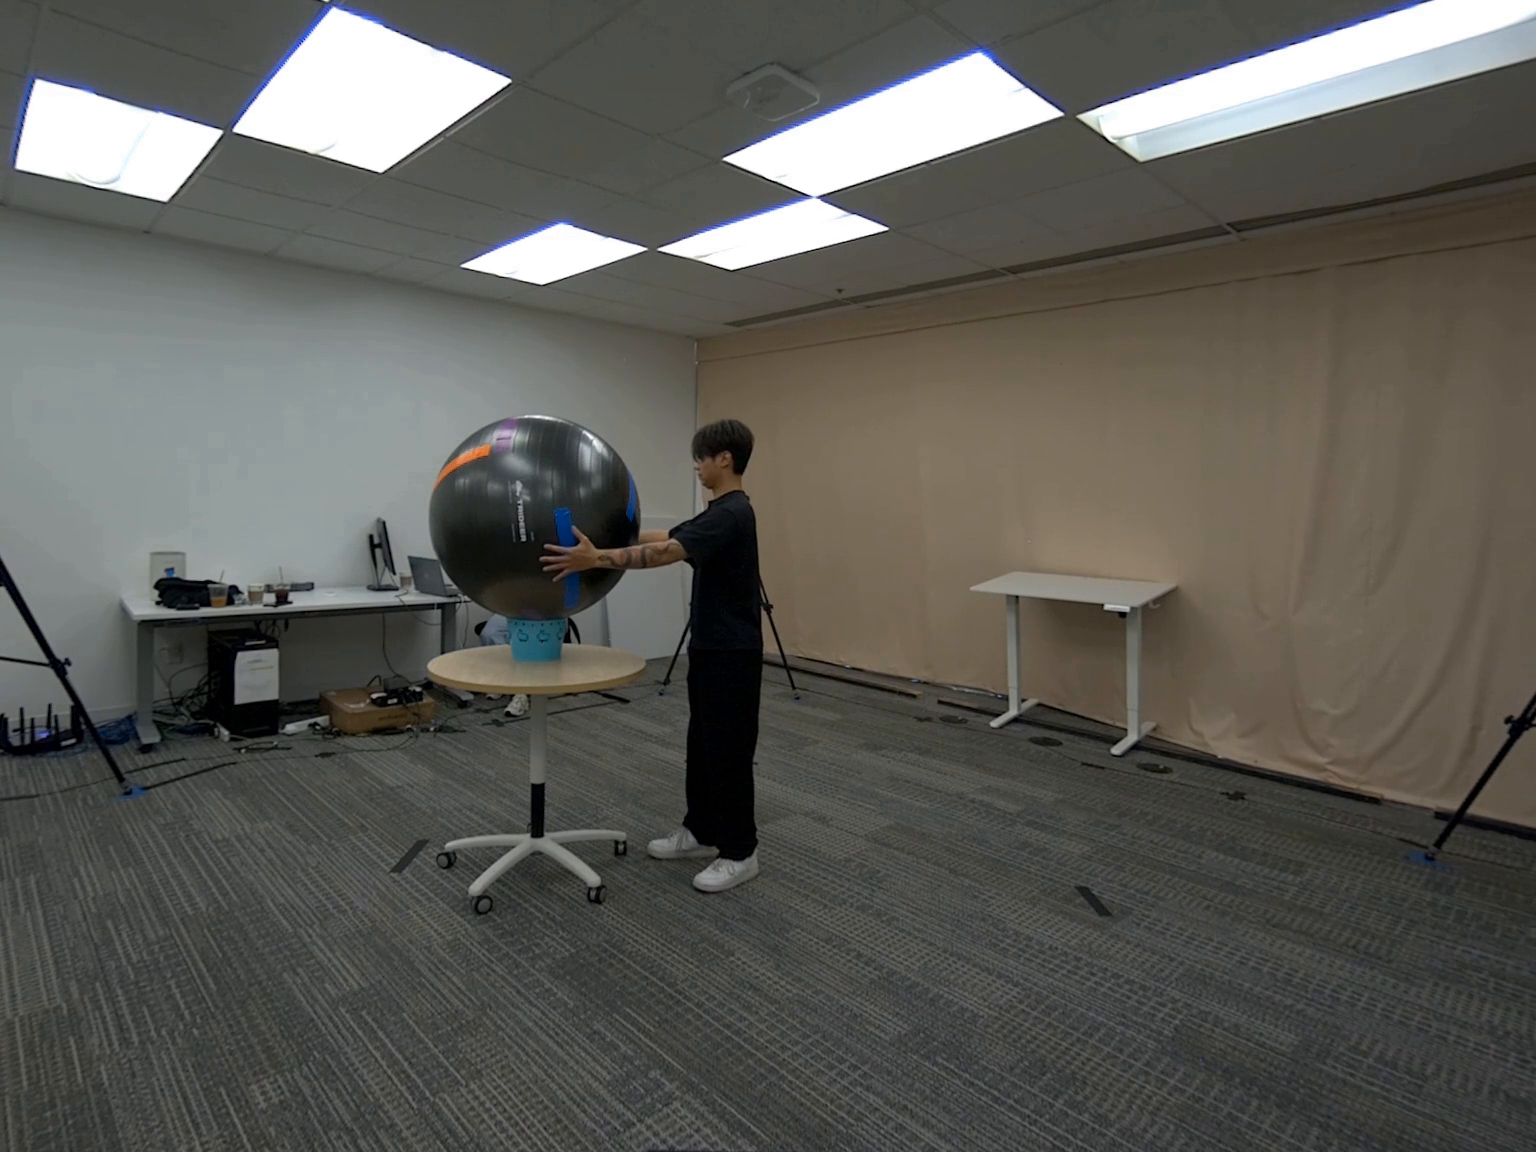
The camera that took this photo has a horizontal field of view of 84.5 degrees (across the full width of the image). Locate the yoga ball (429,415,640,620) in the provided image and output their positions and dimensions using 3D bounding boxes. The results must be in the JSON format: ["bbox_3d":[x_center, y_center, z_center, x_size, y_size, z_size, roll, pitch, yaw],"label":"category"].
[{"bbox_3d":[-0.864,-0.208,3.115,0.757,0.756,0.761,1,4,-1],"label":"yoga ball"}]
